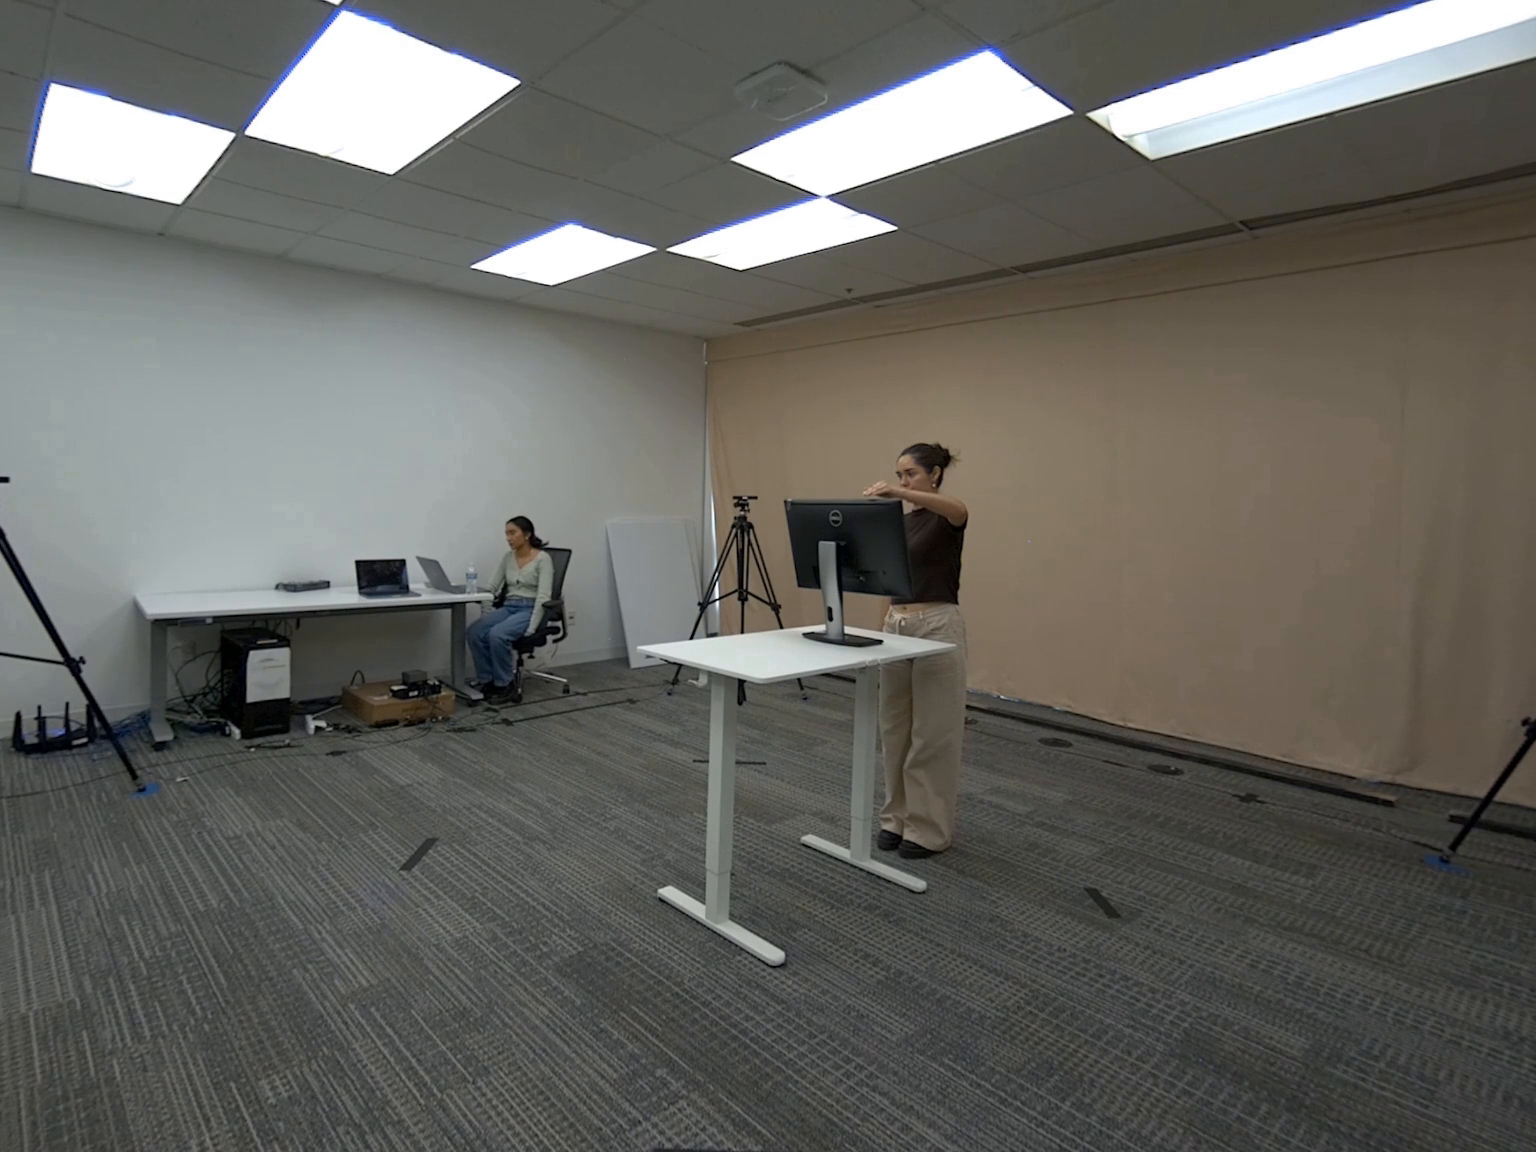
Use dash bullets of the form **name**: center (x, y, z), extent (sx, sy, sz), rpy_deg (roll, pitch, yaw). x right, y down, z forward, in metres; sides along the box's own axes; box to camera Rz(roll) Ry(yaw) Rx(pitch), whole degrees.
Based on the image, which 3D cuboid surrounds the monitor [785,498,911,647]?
- **monitor**: center (0.260, -0.014, 3.042), extent (0.553, 0.521, 0.183), rpy_deg (4, 7, 44)
